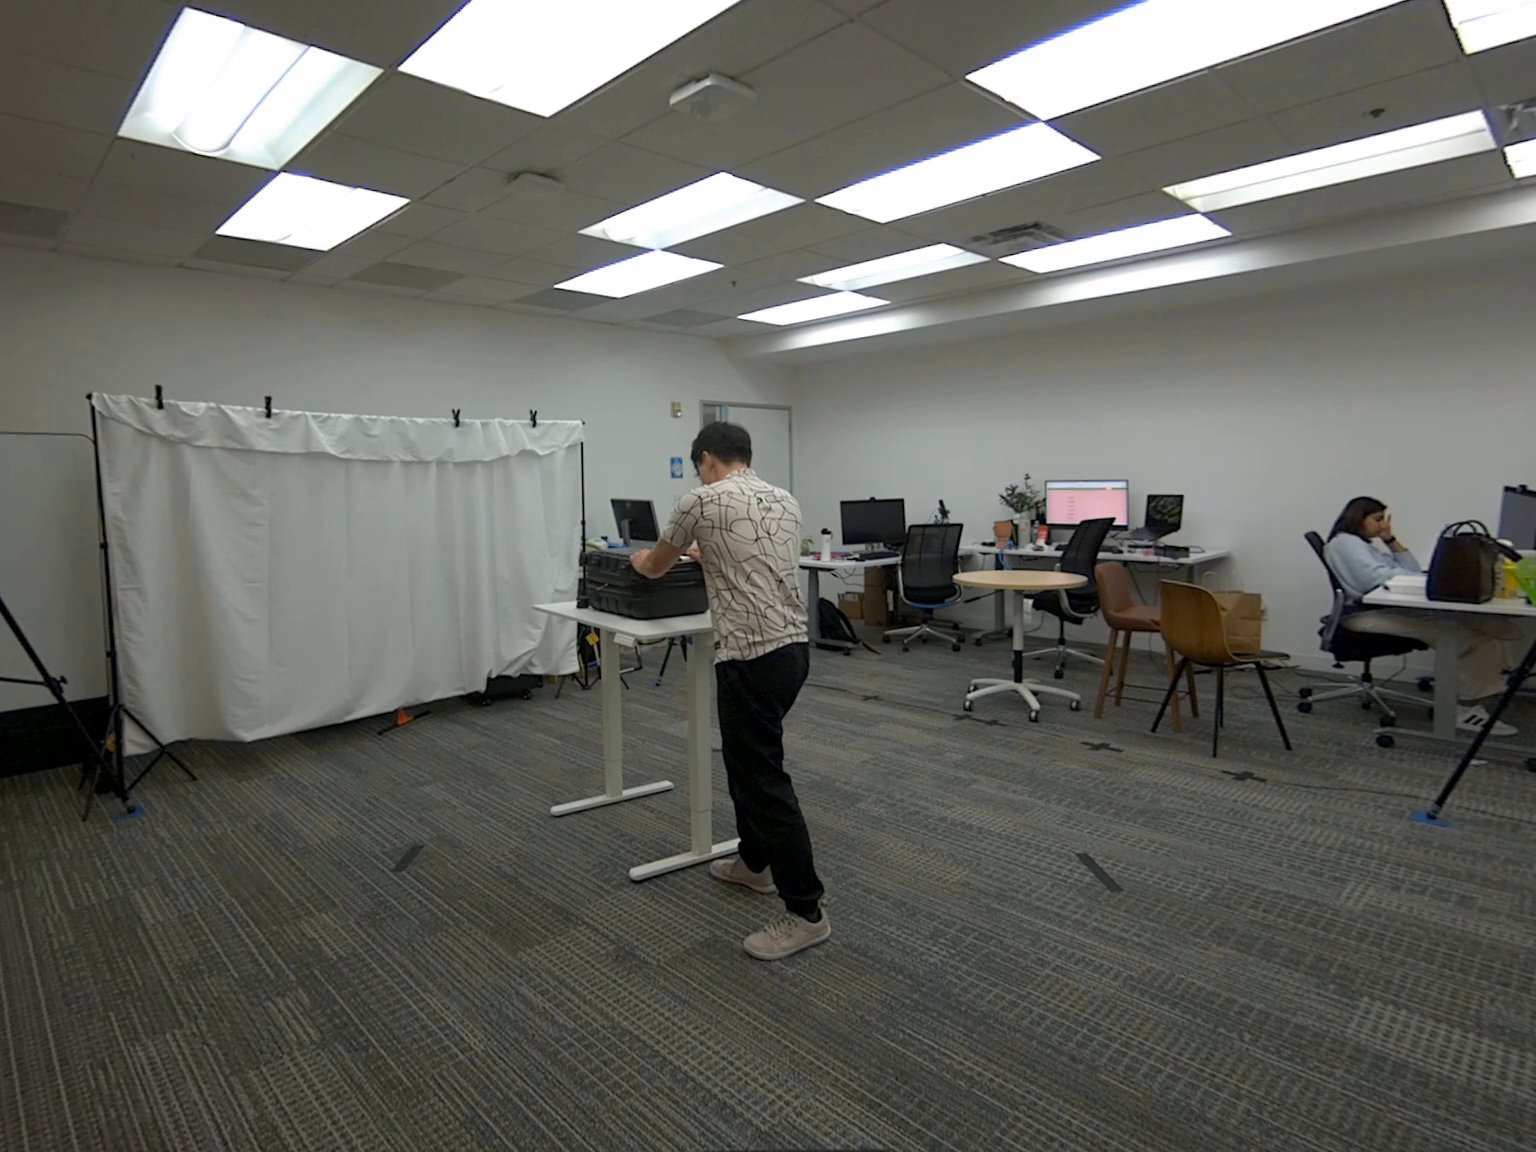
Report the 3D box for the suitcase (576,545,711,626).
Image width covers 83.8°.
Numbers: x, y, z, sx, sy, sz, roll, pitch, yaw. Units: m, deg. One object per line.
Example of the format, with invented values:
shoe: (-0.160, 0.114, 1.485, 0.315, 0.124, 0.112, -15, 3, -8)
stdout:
suitcase: (-0.477, 0.023, 3.425, 0.366, 0.247, 0.566, -3, 6, -36)
